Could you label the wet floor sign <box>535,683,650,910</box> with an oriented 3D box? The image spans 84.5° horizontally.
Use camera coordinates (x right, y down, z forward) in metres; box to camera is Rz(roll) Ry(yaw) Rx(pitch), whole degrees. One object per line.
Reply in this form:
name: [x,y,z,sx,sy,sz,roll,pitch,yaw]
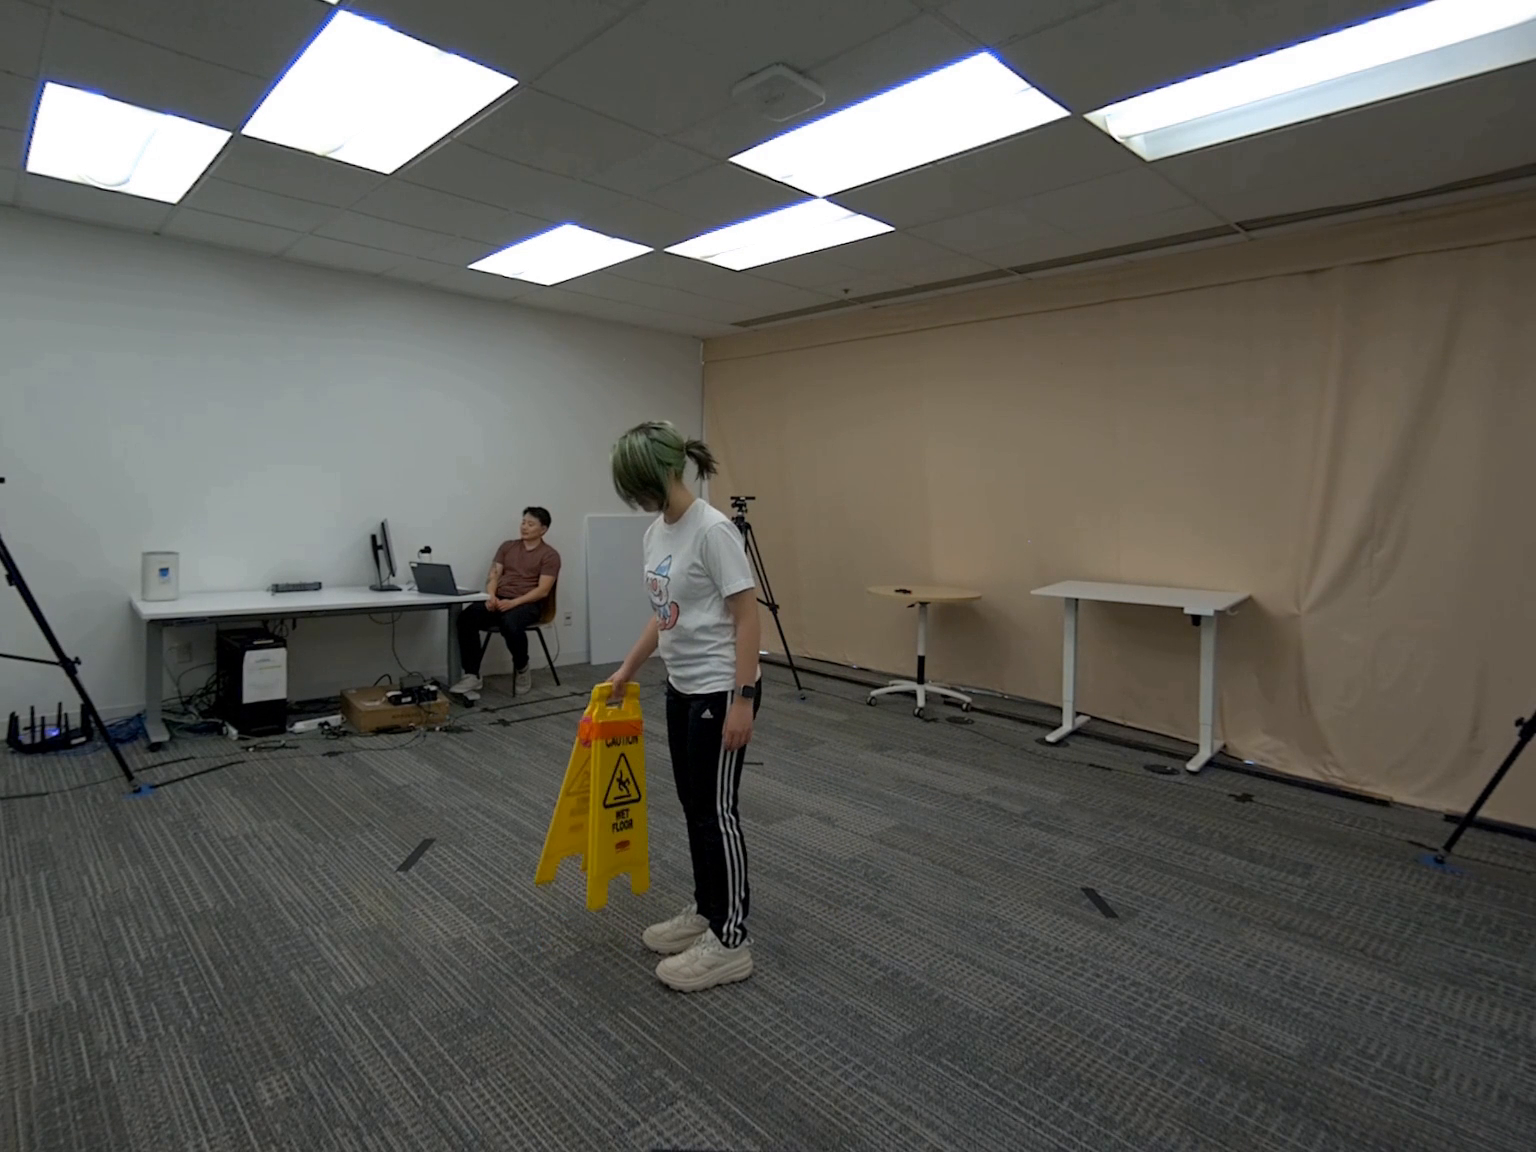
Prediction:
wet floor sign: [-0.525,0.674,2.682,0.296,0.647,0.275,4,-2,33]
